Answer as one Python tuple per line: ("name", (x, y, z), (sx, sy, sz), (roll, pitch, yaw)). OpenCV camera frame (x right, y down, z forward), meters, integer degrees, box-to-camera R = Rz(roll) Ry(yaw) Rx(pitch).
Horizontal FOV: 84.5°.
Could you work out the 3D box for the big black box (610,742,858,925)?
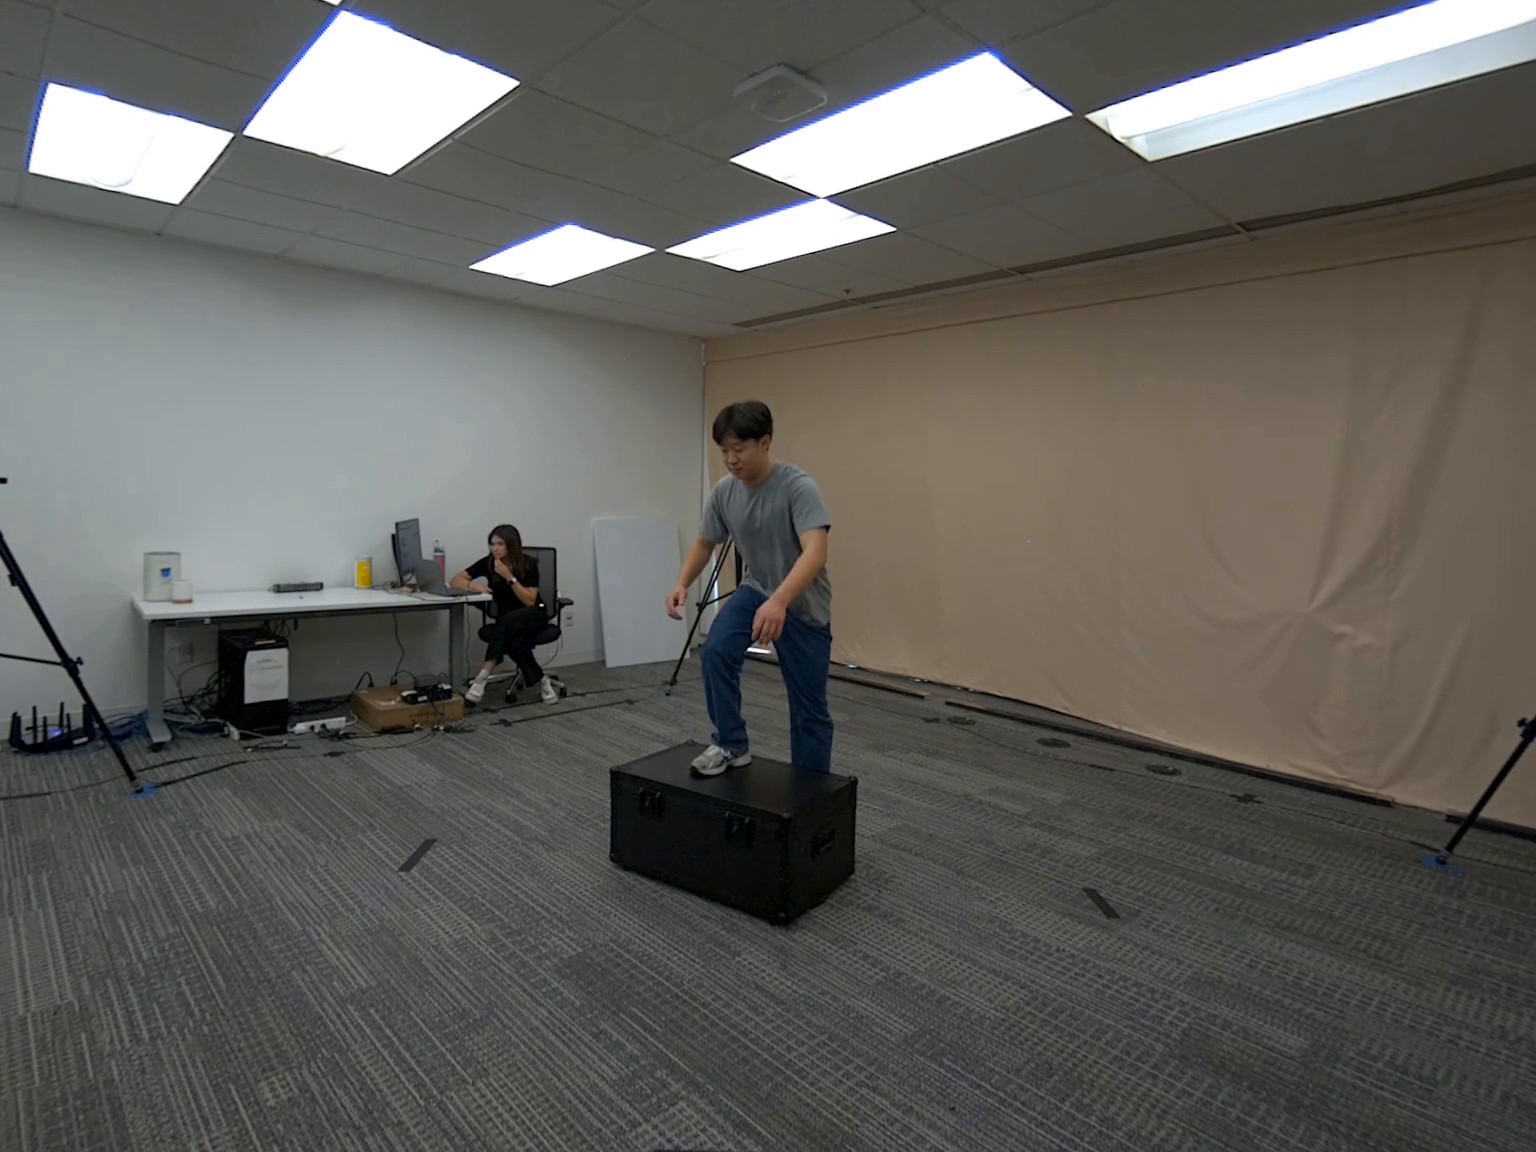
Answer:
("big black box", (-0.165, 0.912, 3.129), (0.882, 0.395, 0.510), (5, 5, 34))
